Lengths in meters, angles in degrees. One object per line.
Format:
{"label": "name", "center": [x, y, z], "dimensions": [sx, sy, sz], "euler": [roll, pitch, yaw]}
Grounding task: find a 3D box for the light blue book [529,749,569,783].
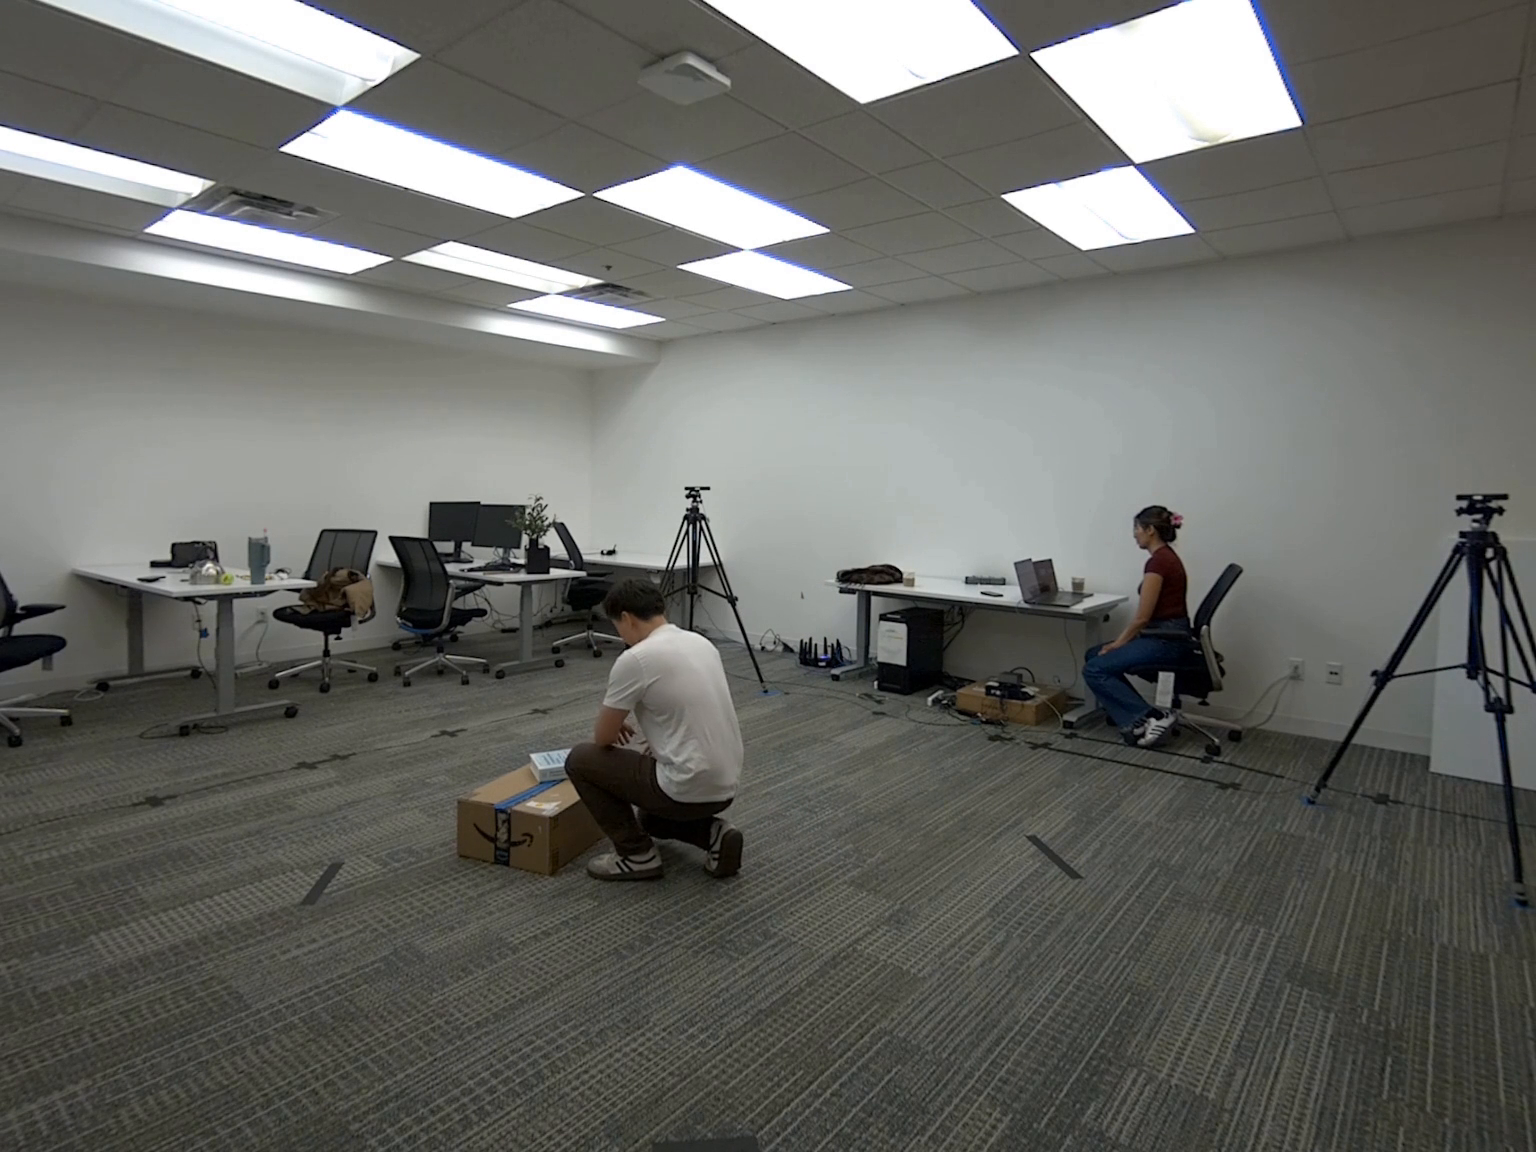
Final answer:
{"label": "light blue book", "center": [-0.864, 0.780, 3.526], "dimensions": [0.255, 0.059, 0.197], "euler": [-3, 7, -25]}
